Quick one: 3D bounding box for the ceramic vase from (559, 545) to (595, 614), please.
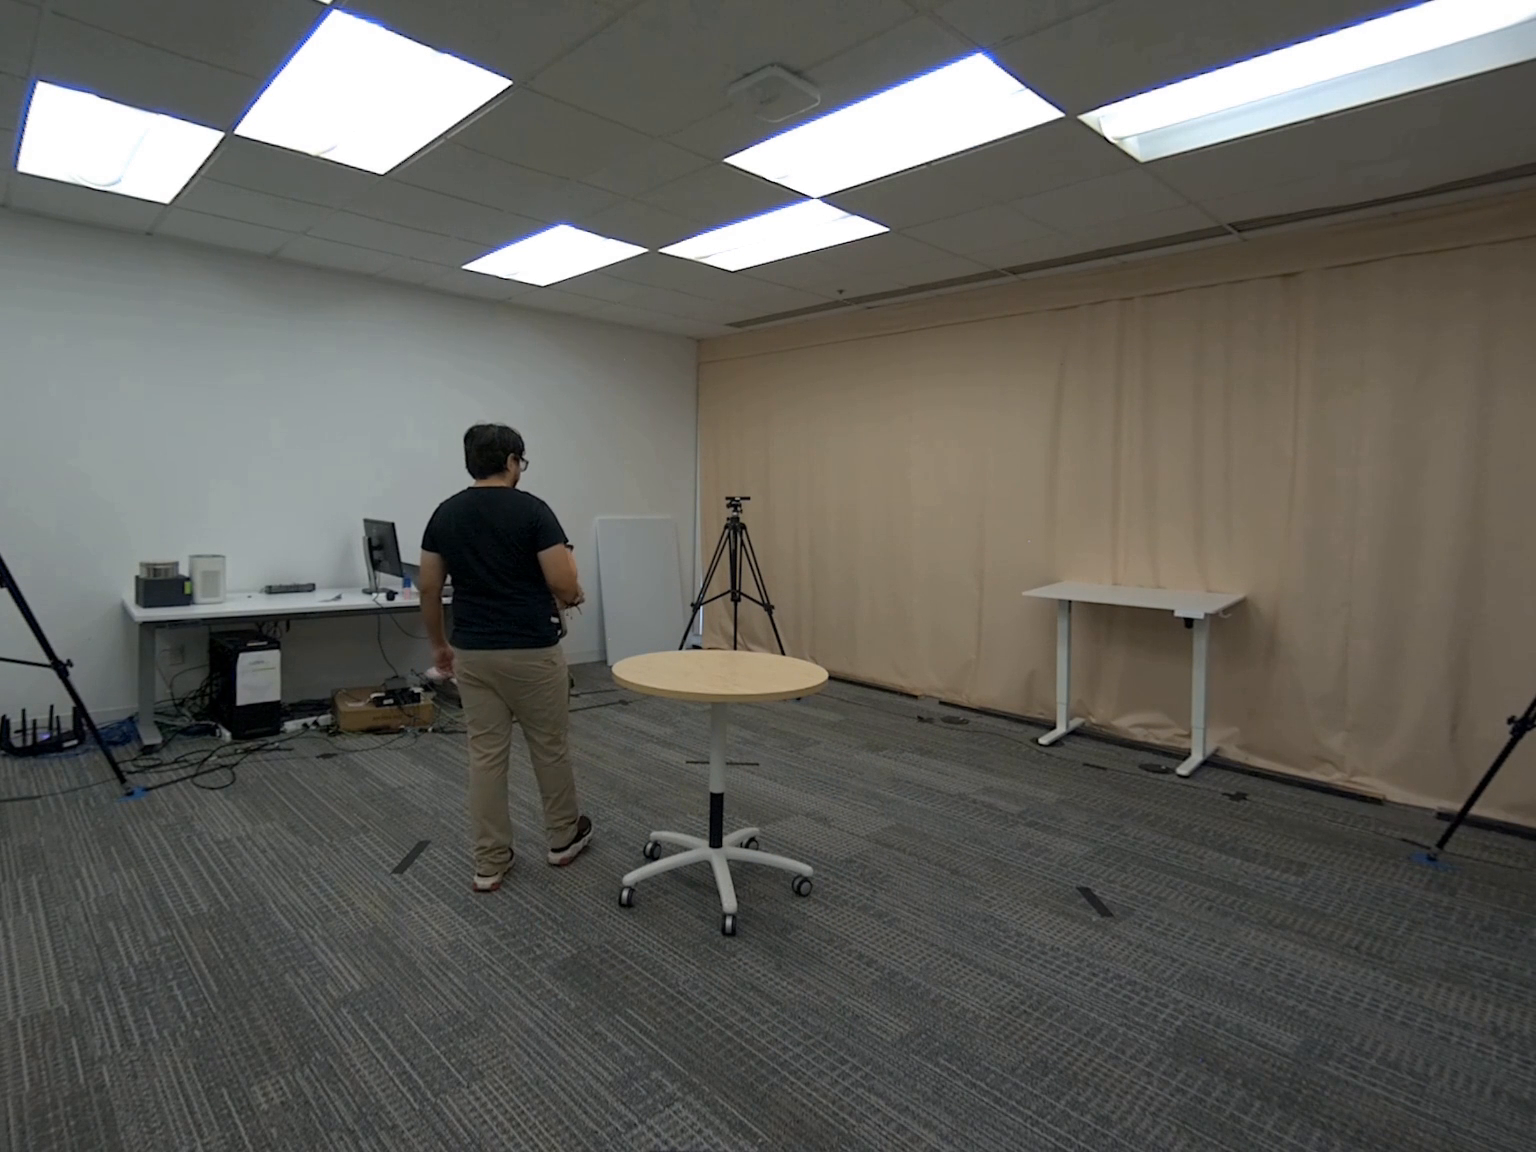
[{"bbox_3d":[-0.805,0.018,3.328,0.157,0.222,0.135,-14,-11,-25],"label":"ceramic vase"}]
